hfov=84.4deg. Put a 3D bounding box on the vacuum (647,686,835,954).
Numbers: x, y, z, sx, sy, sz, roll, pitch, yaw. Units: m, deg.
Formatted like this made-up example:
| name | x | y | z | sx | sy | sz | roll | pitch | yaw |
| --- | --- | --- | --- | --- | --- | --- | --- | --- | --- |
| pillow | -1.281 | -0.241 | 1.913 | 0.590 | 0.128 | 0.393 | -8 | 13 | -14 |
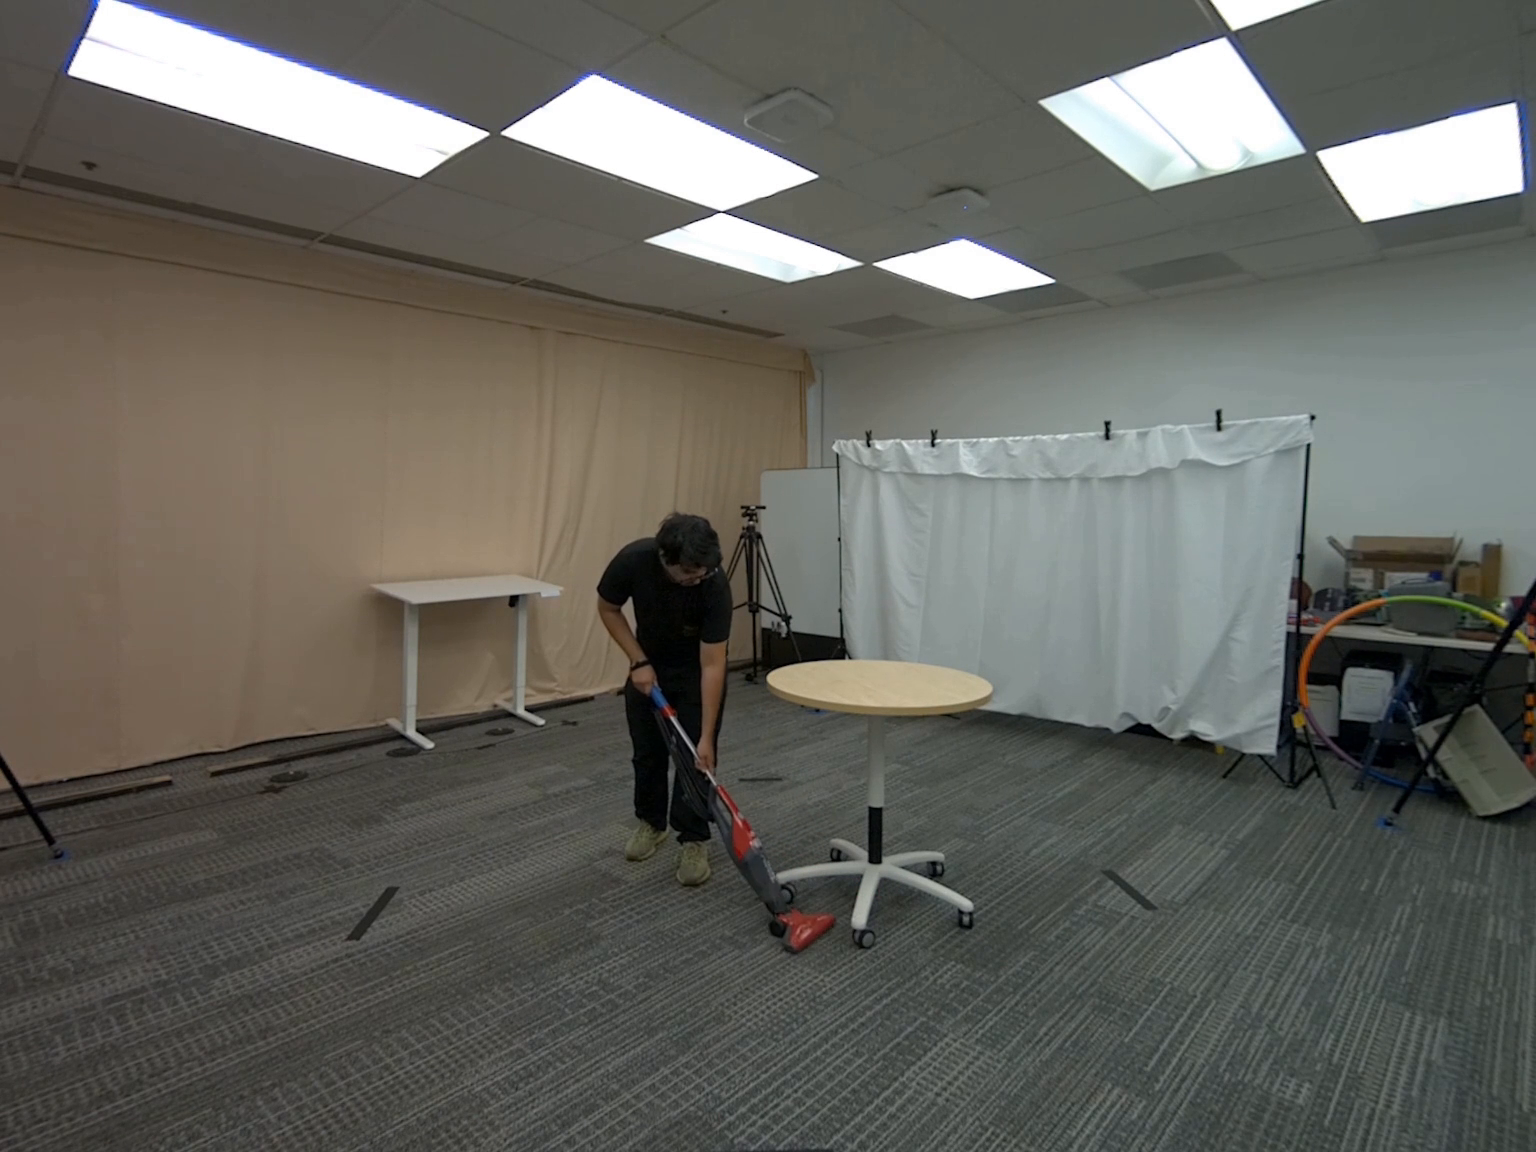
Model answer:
| name | x | y | z | sx | sy | sz | roll | pitch | yaw |
| --- | --- | --- | --- | --- | --- | --- | --- | --- | --- |
| vacuum | -0.189 | 0.770 | 2.944 | 1.075 | 0.144 | 0.245 | 49 | 12 | 21 |
